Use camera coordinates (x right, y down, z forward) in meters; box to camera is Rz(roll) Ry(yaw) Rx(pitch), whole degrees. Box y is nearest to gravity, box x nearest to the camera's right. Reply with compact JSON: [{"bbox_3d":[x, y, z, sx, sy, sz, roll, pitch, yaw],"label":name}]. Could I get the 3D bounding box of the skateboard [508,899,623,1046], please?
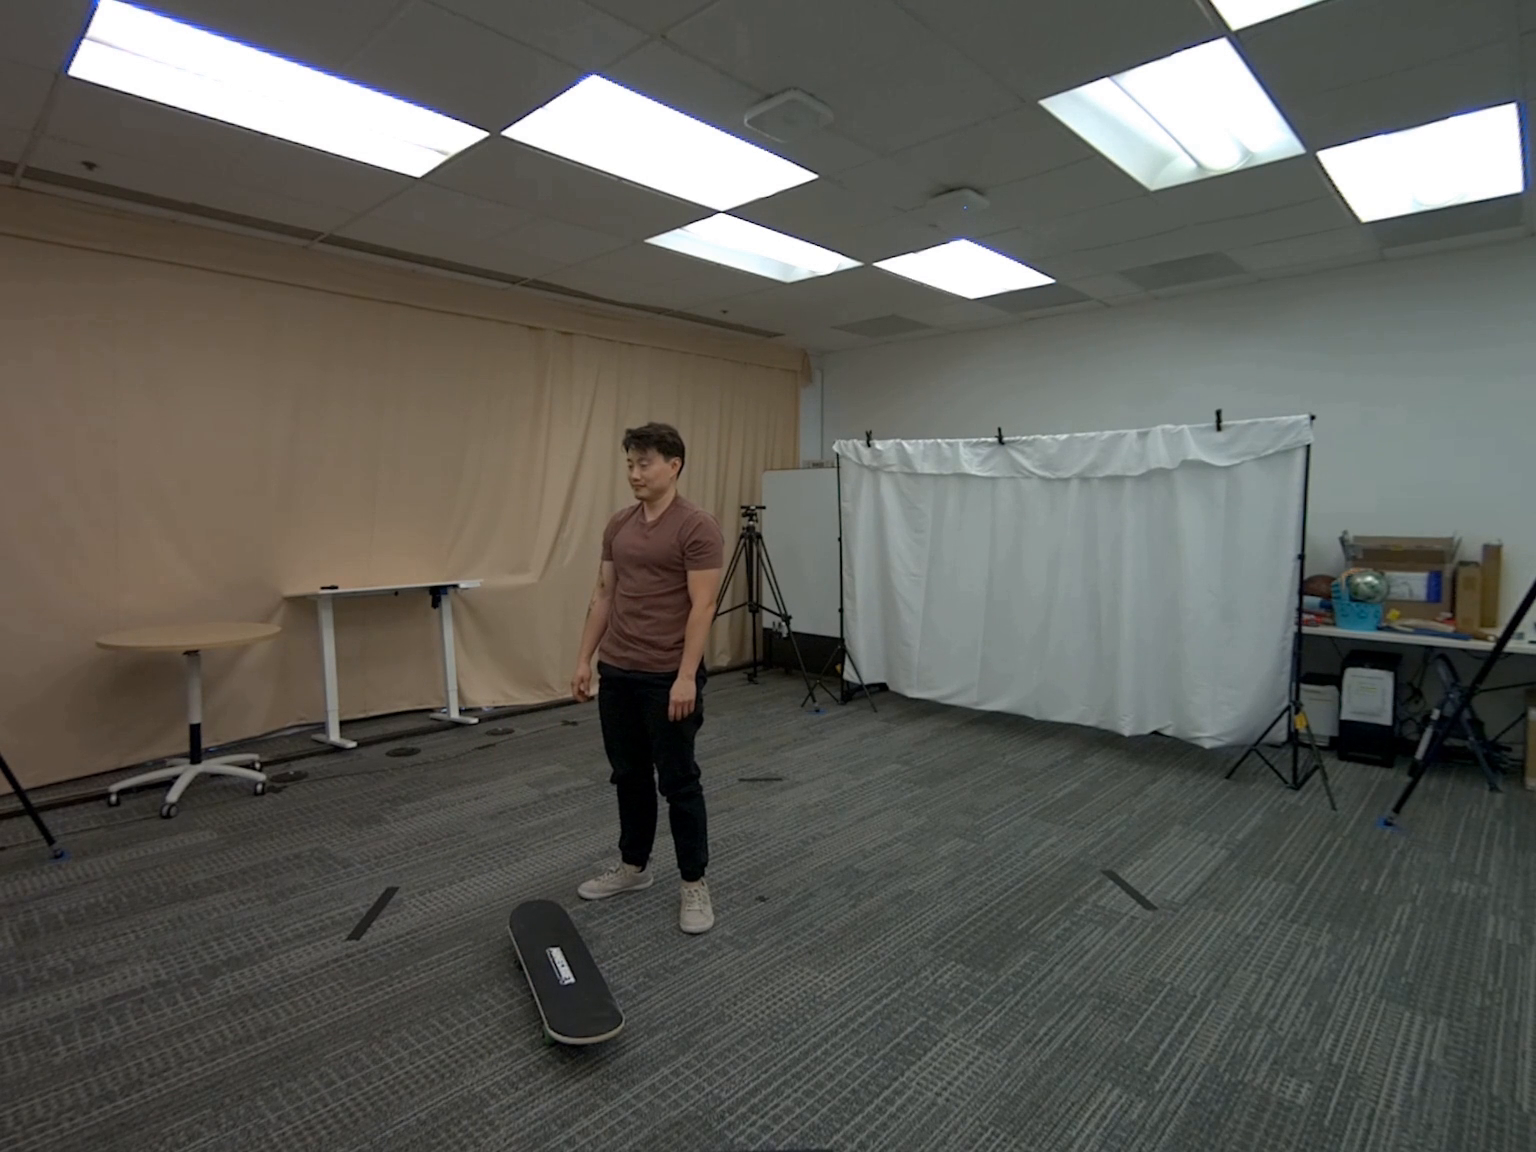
[{"bbox_3d":[-0.591,1.143,2.390,0.189,0.110,0.806,-1,4,-26],"label":"skateboard"}]
